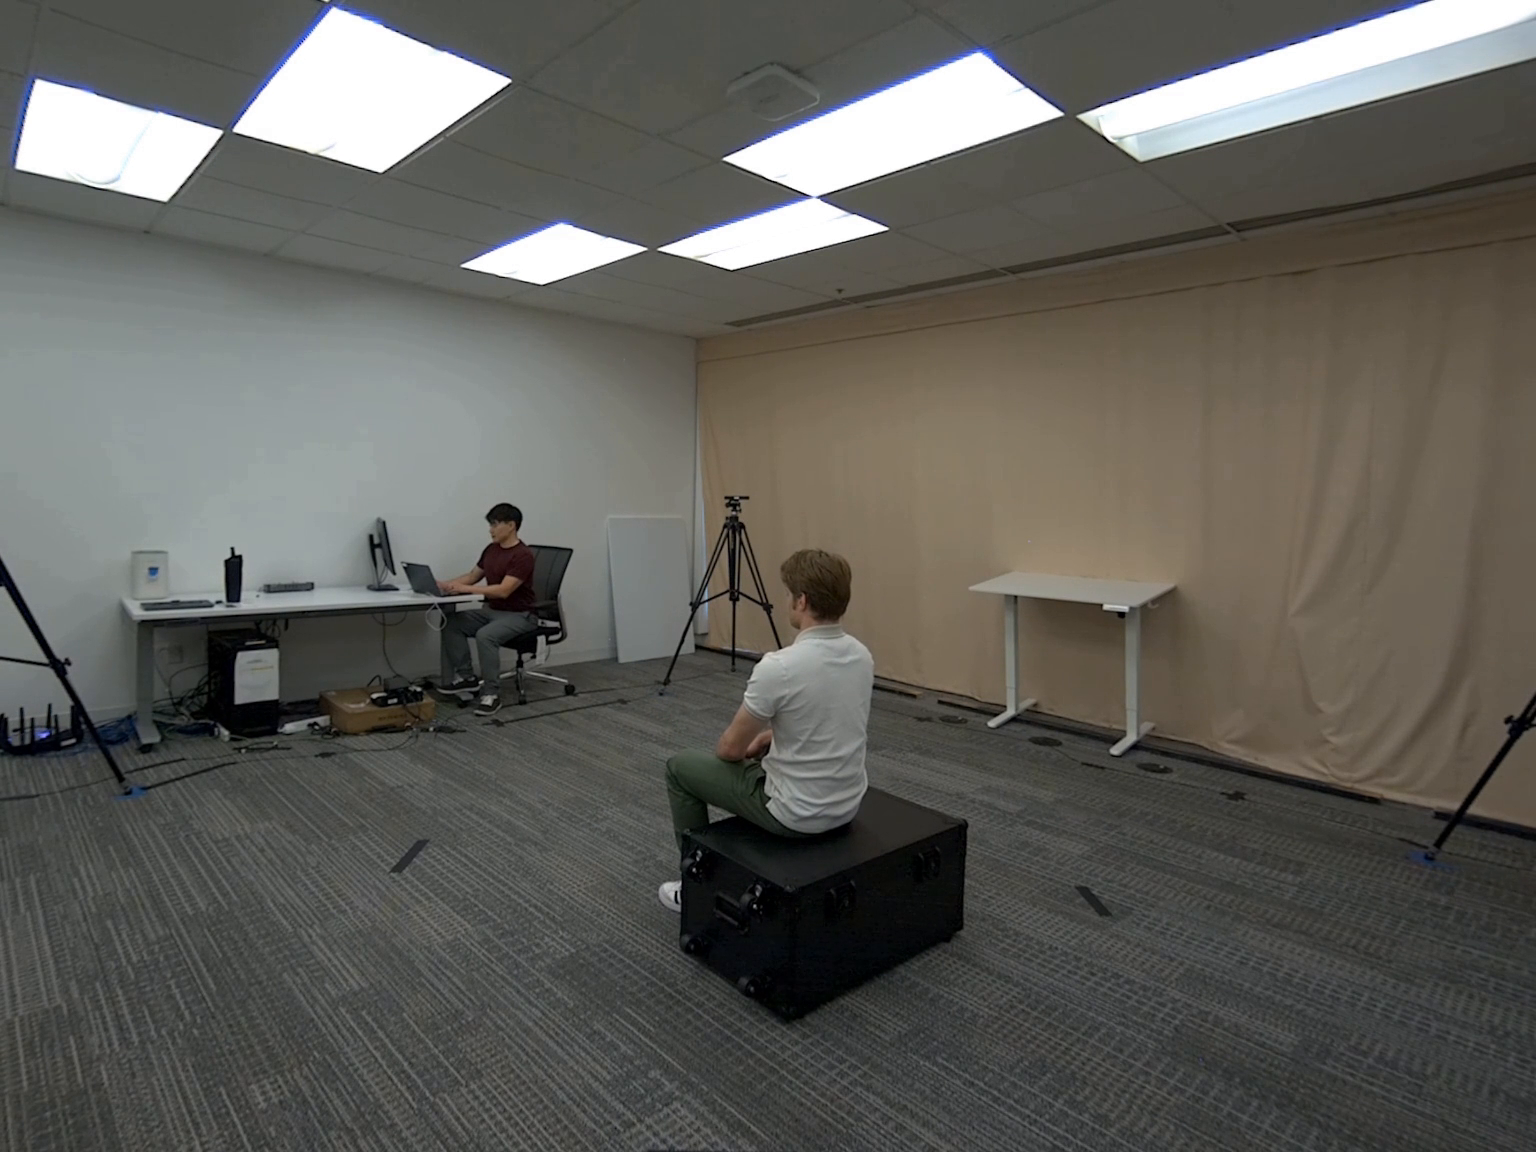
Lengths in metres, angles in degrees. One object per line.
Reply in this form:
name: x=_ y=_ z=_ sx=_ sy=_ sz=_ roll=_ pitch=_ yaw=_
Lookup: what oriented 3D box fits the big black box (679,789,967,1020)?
big black box: x=0.150 y=0.966 z=2.608 sx=0.849 sy=0.384 sz=0.537 roll=-3 pitch=7 yaw=-41
